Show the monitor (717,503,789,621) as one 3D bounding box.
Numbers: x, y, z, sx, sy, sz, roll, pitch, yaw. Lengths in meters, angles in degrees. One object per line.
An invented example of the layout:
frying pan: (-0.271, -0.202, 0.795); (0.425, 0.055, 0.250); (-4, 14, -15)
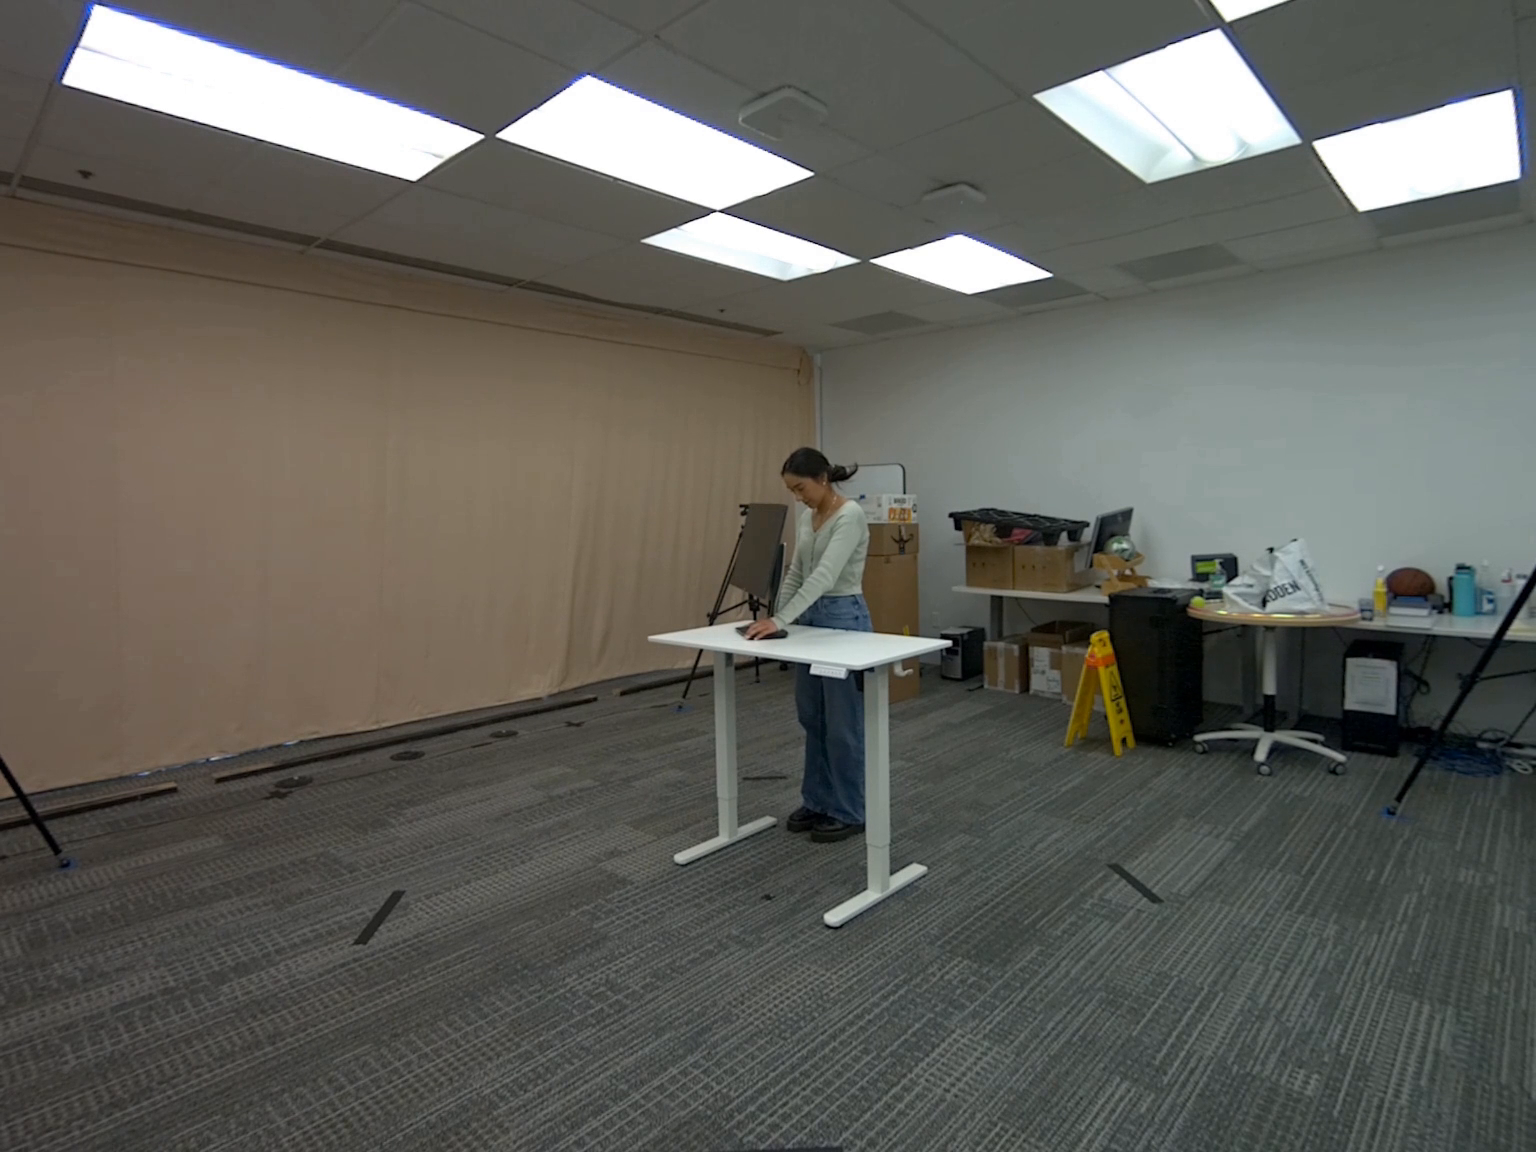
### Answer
monitor: (-0.027, -0.027, 3.307); (0.173, 0.514, 0.535); (-6, 5, -8)
